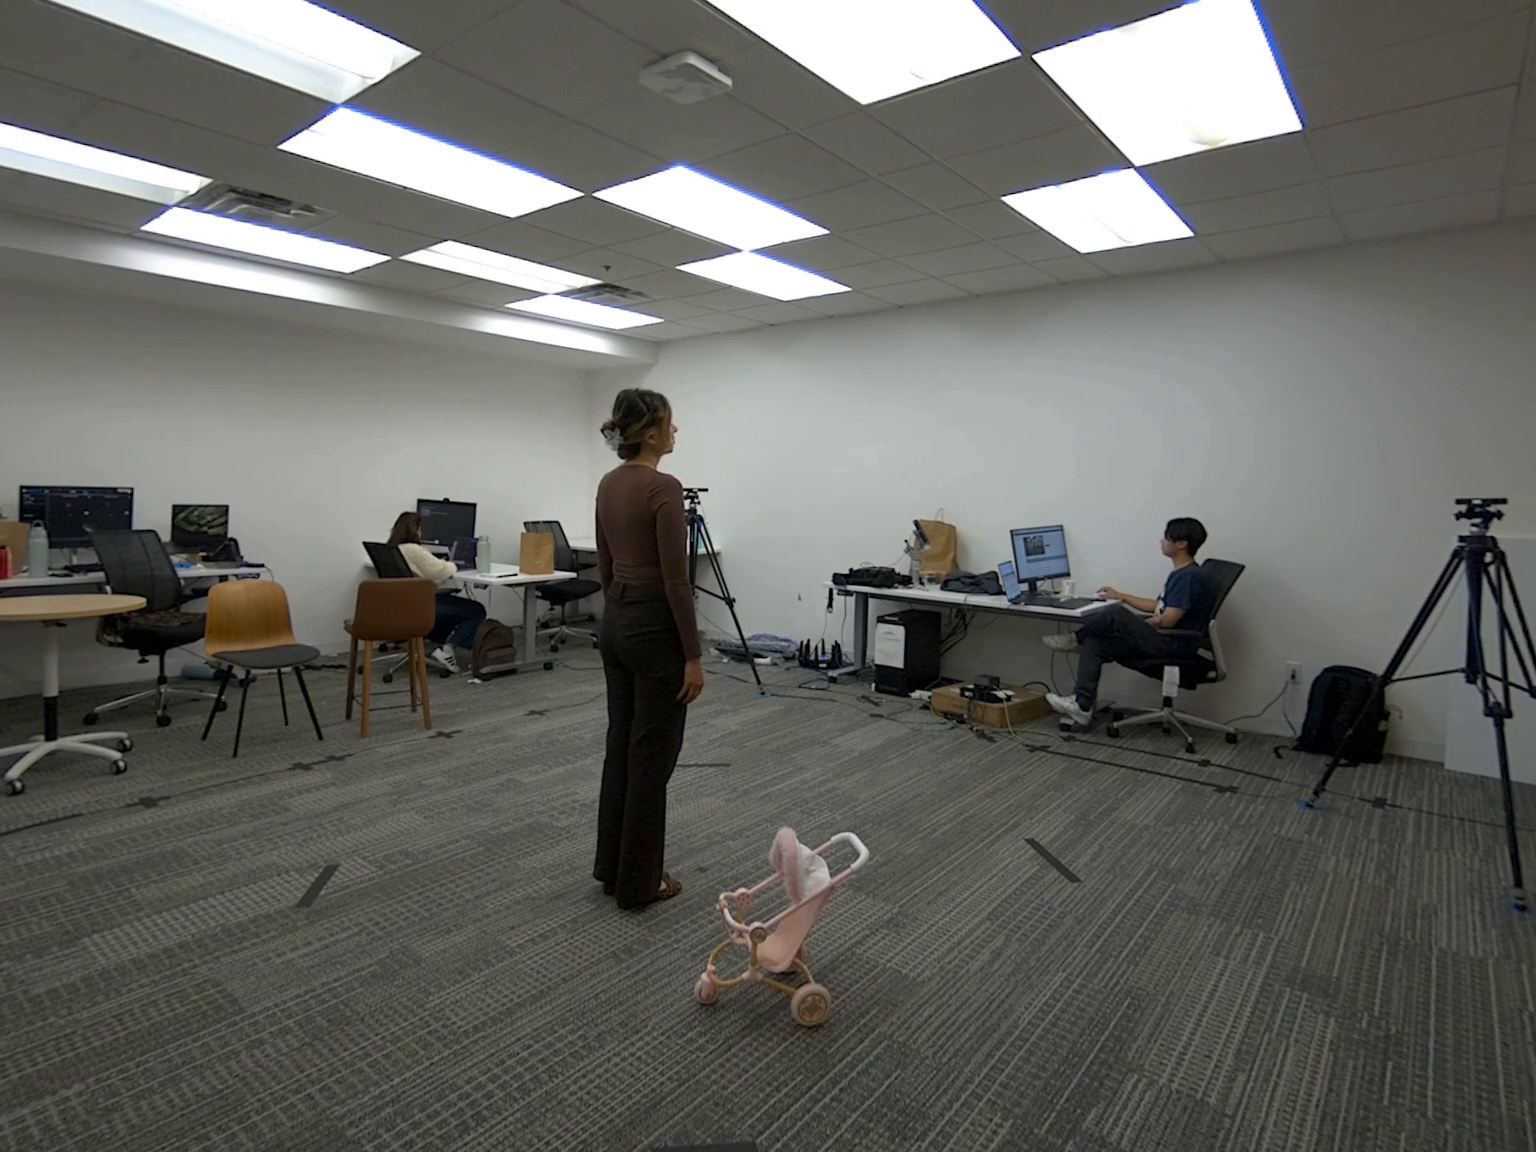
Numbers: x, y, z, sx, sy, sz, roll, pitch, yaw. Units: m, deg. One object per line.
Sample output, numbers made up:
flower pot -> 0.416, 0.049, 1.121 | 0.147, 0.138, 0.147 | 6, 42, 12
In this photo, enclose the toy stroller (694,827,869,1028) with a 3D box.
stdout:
toy stroller -> 0.018, 0.928, 2.316 | 0.338, 0.534, 0.284 | 18, 1, -7
